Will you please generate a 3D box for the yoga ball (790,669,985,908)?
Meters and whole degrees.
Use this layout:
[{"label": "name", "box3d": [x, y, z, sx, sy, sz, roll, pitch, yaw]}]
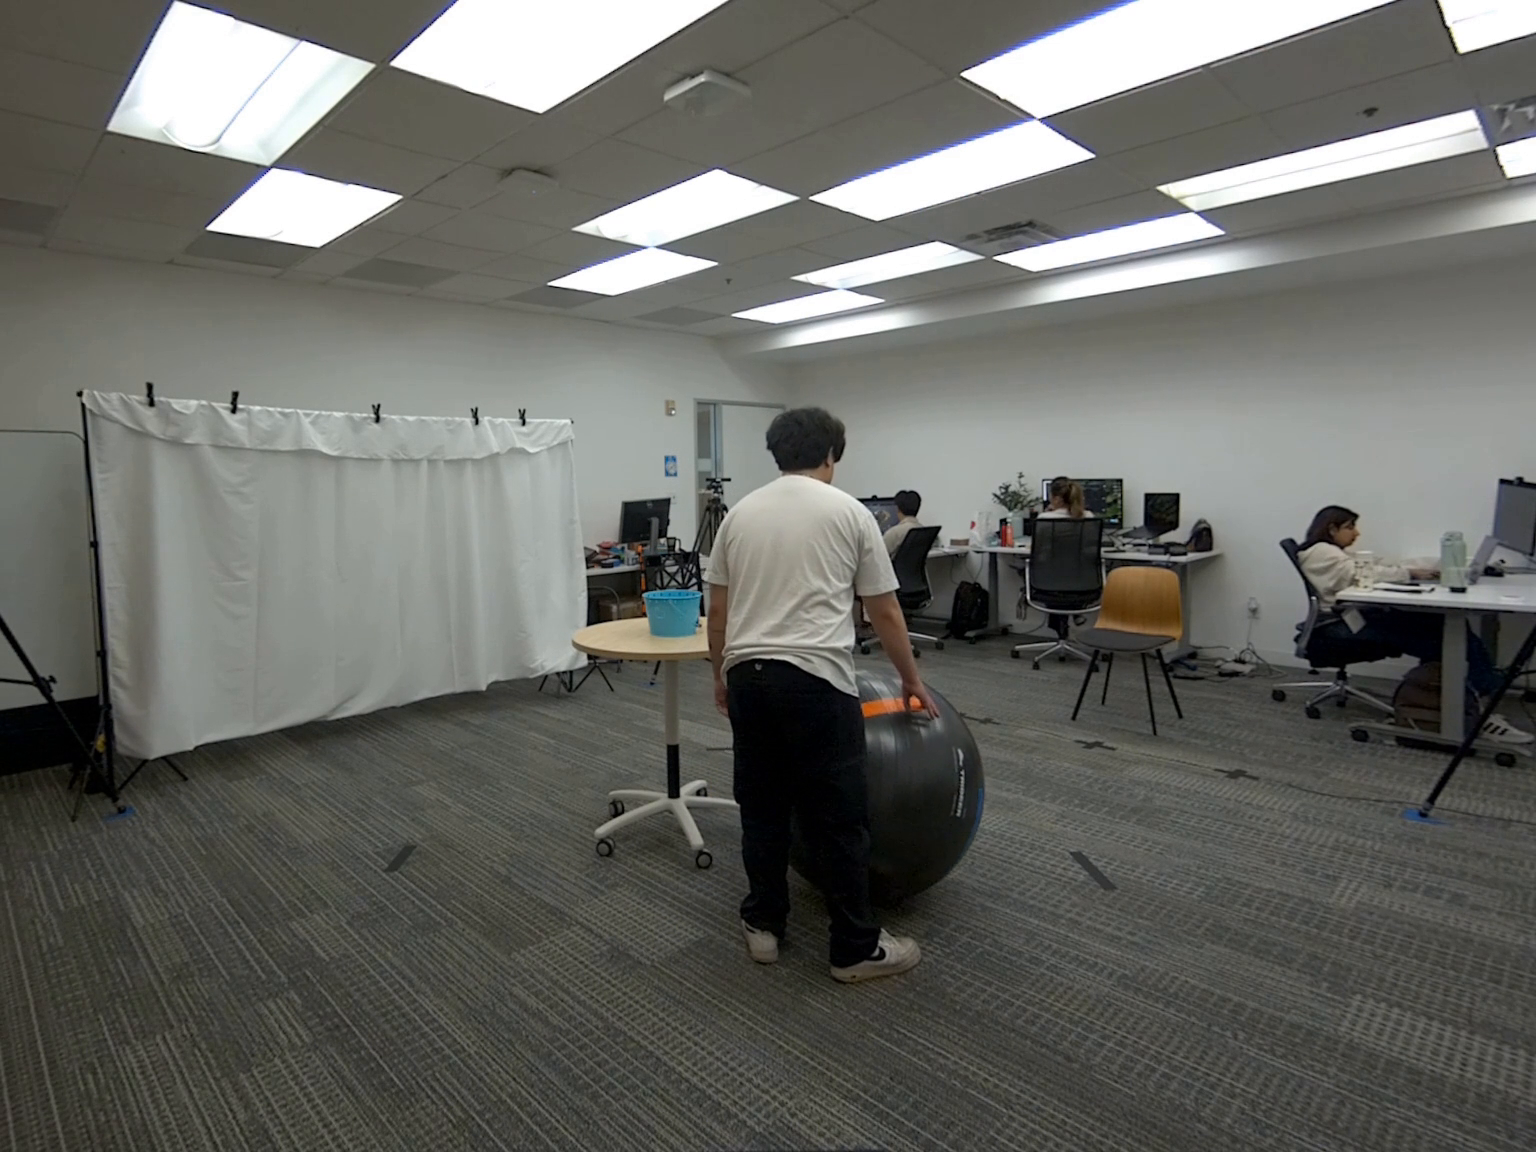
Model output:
[{"label": "yoga ball", "box3d": [0.343, 0.697, 2.882, 0.757, 0.755, 0.762, -1, 5, -2]}]
